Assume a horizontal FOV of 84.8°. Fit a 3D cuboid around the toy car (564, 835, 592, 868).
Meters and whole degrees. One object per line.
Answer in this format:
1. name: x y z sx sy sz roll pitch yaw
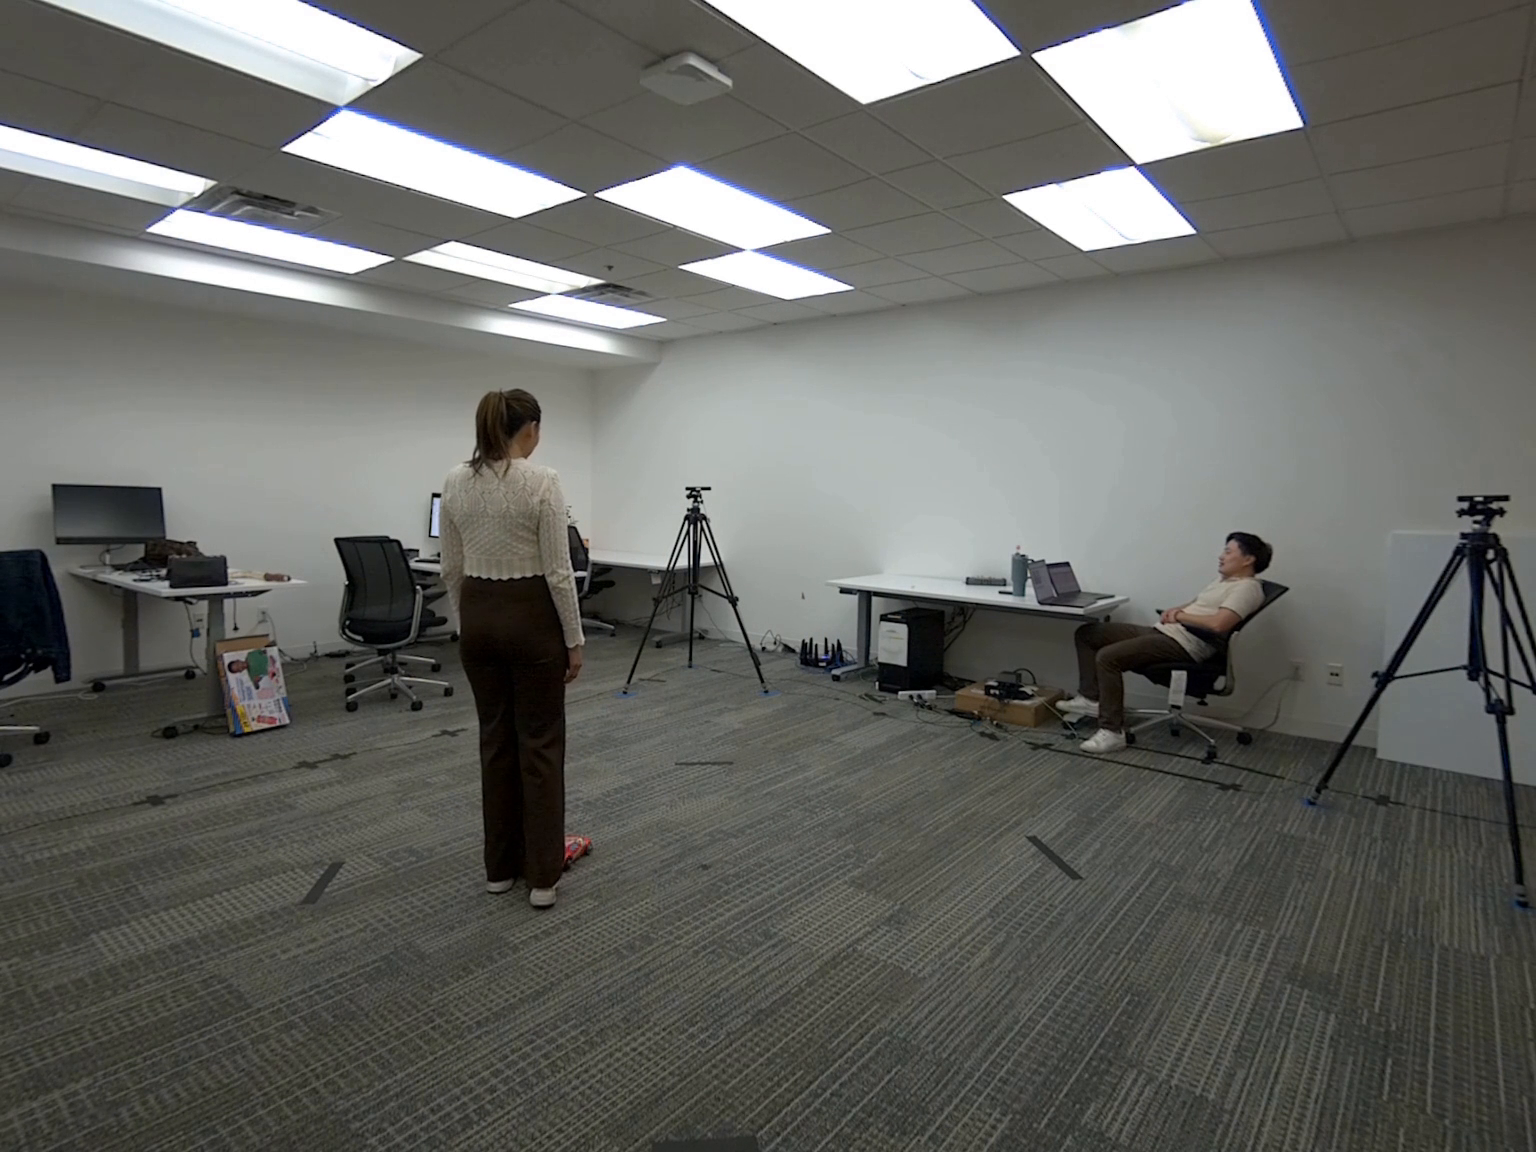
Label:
1. toy car: -0.765 1.024 3.141 0.133 0.083 0.248 2 -5 20
